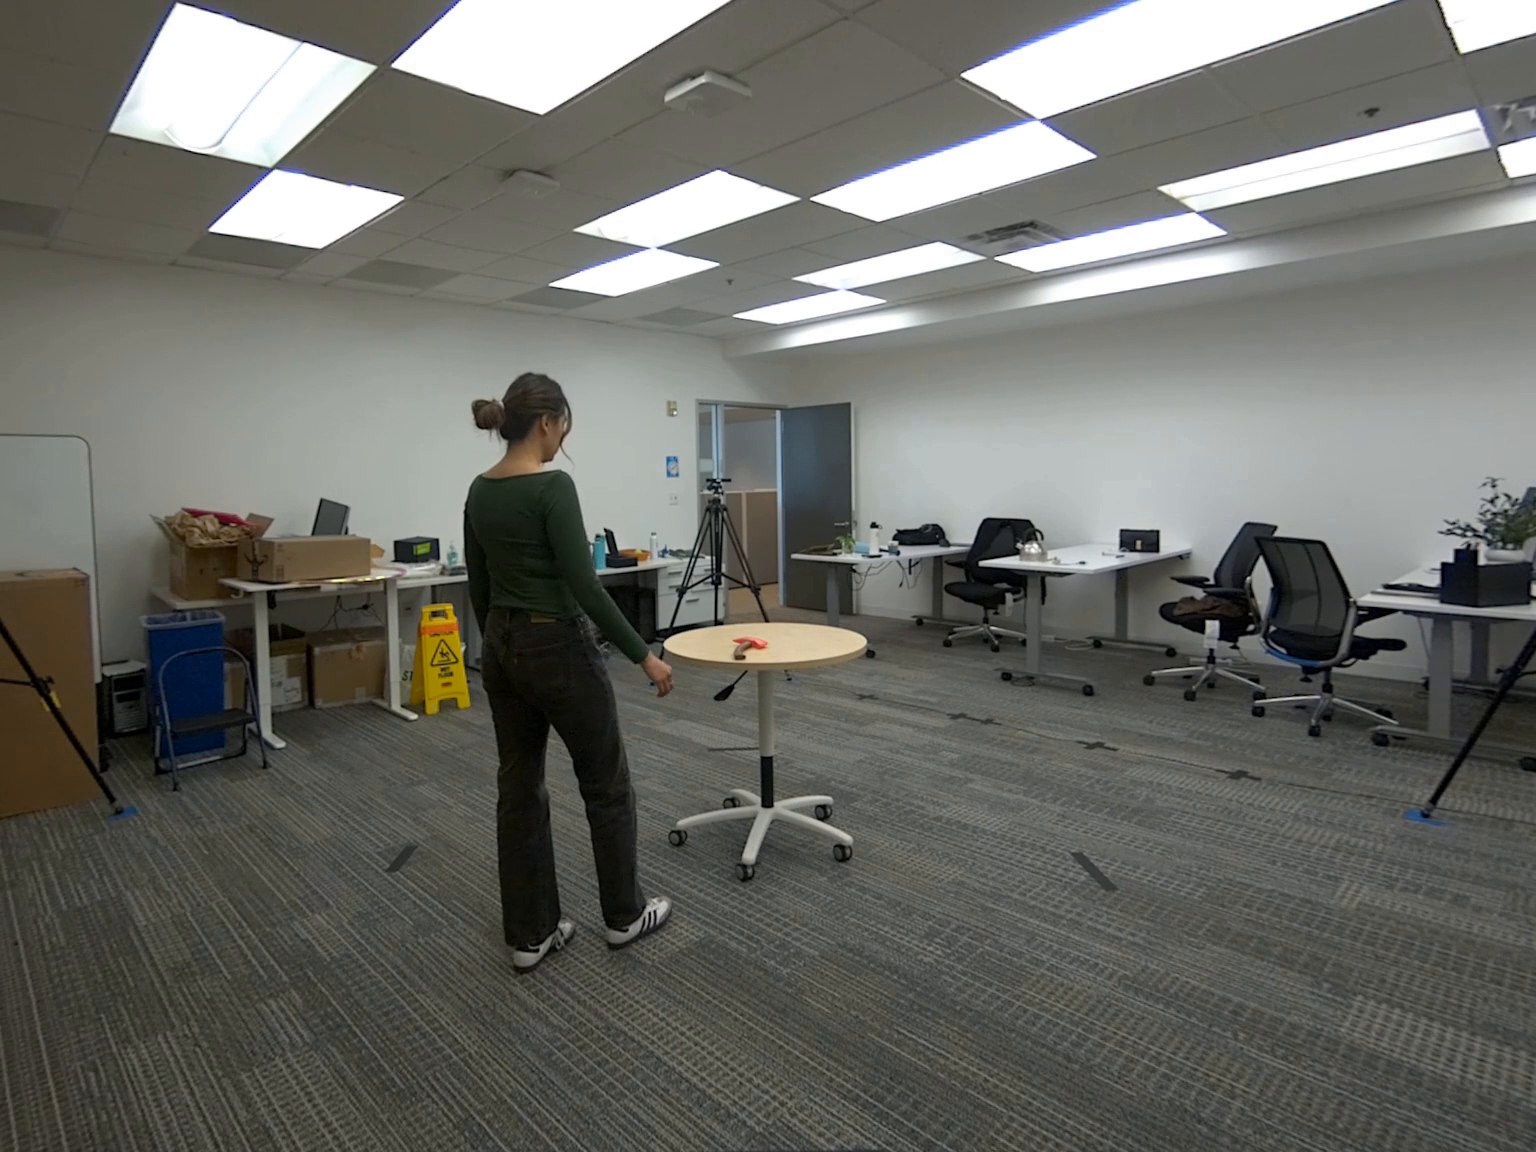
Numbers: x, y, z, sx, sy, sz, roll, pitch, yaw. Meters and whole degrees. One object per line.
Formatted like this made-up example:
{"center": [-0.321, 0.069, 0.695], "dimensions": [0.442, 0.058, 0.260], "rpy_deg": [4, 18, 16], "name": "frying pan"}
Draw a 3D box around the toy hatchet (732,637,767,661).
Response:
{"center": [-0.059, 0.260, 3.031], "dimensions": [0.131, 0.029, 0.272], "rpy_deg": [1, 8, -3], "name": "toy hatchet"}
